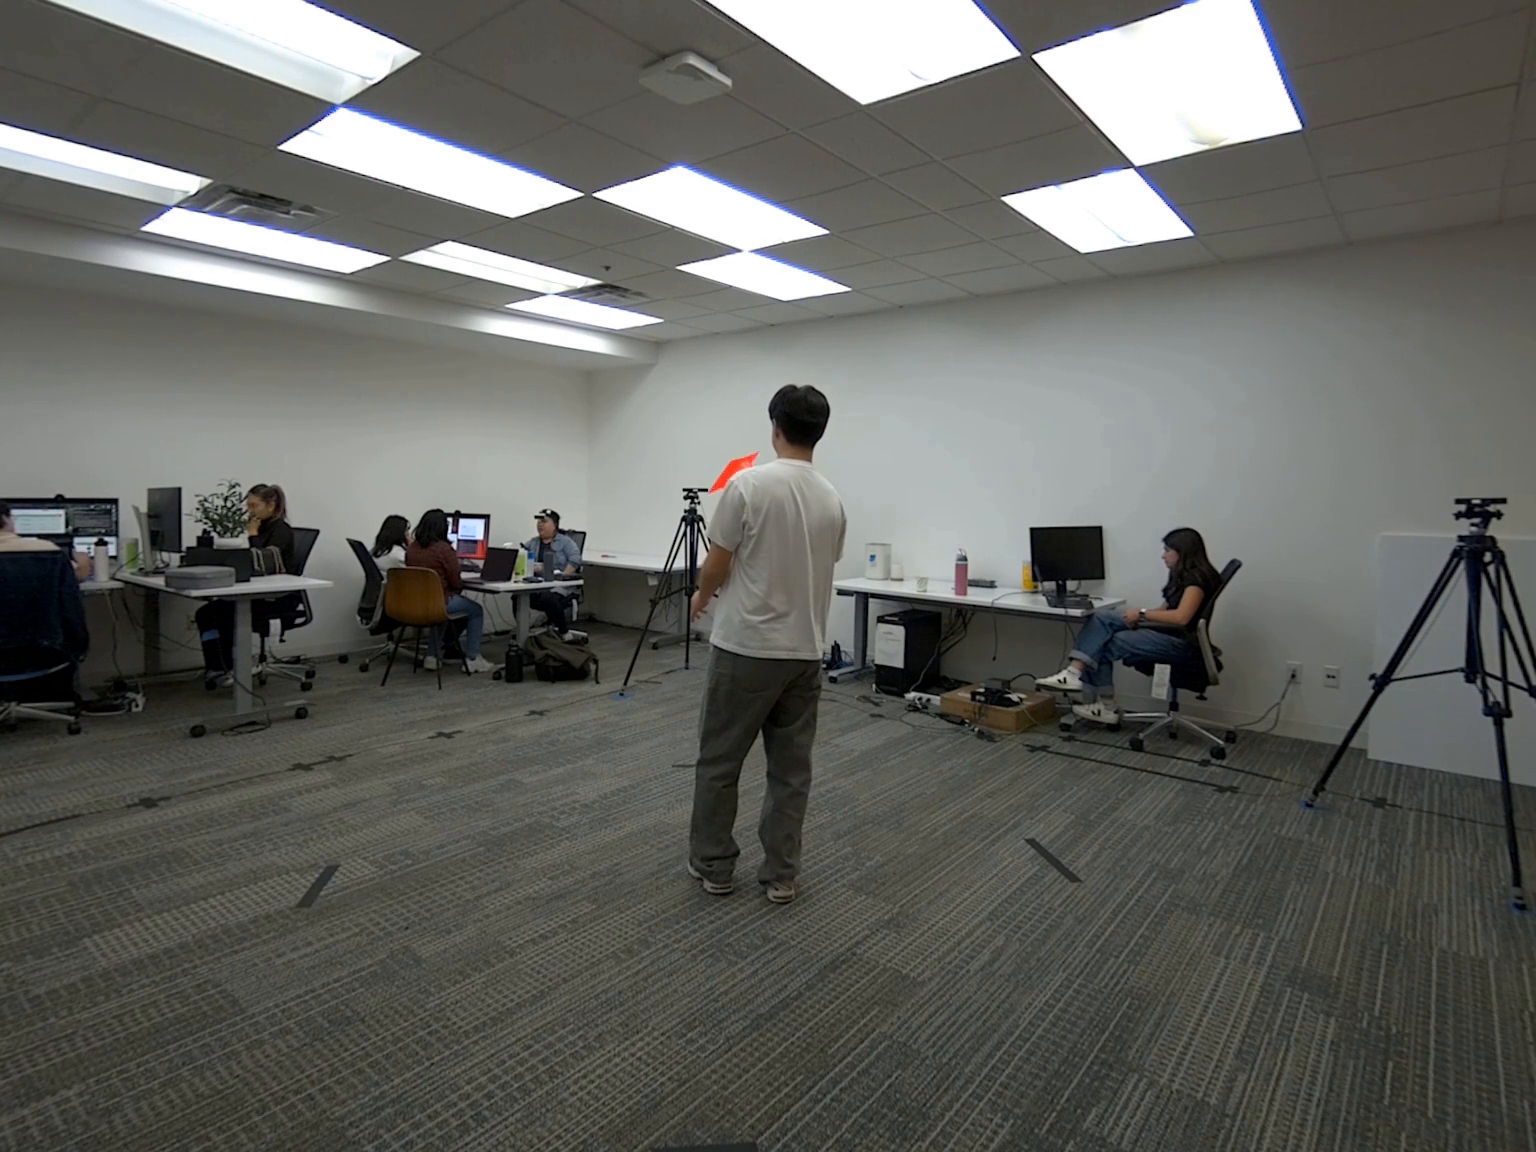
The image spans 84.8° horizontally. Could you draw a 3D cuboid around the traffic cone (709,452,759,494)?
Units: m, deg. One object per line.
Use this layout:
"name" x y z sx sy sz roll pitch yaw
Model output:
"traffic cone" -0.004 -0.277 3.418 0.201 0.391 0.203 -26 -18 -47
